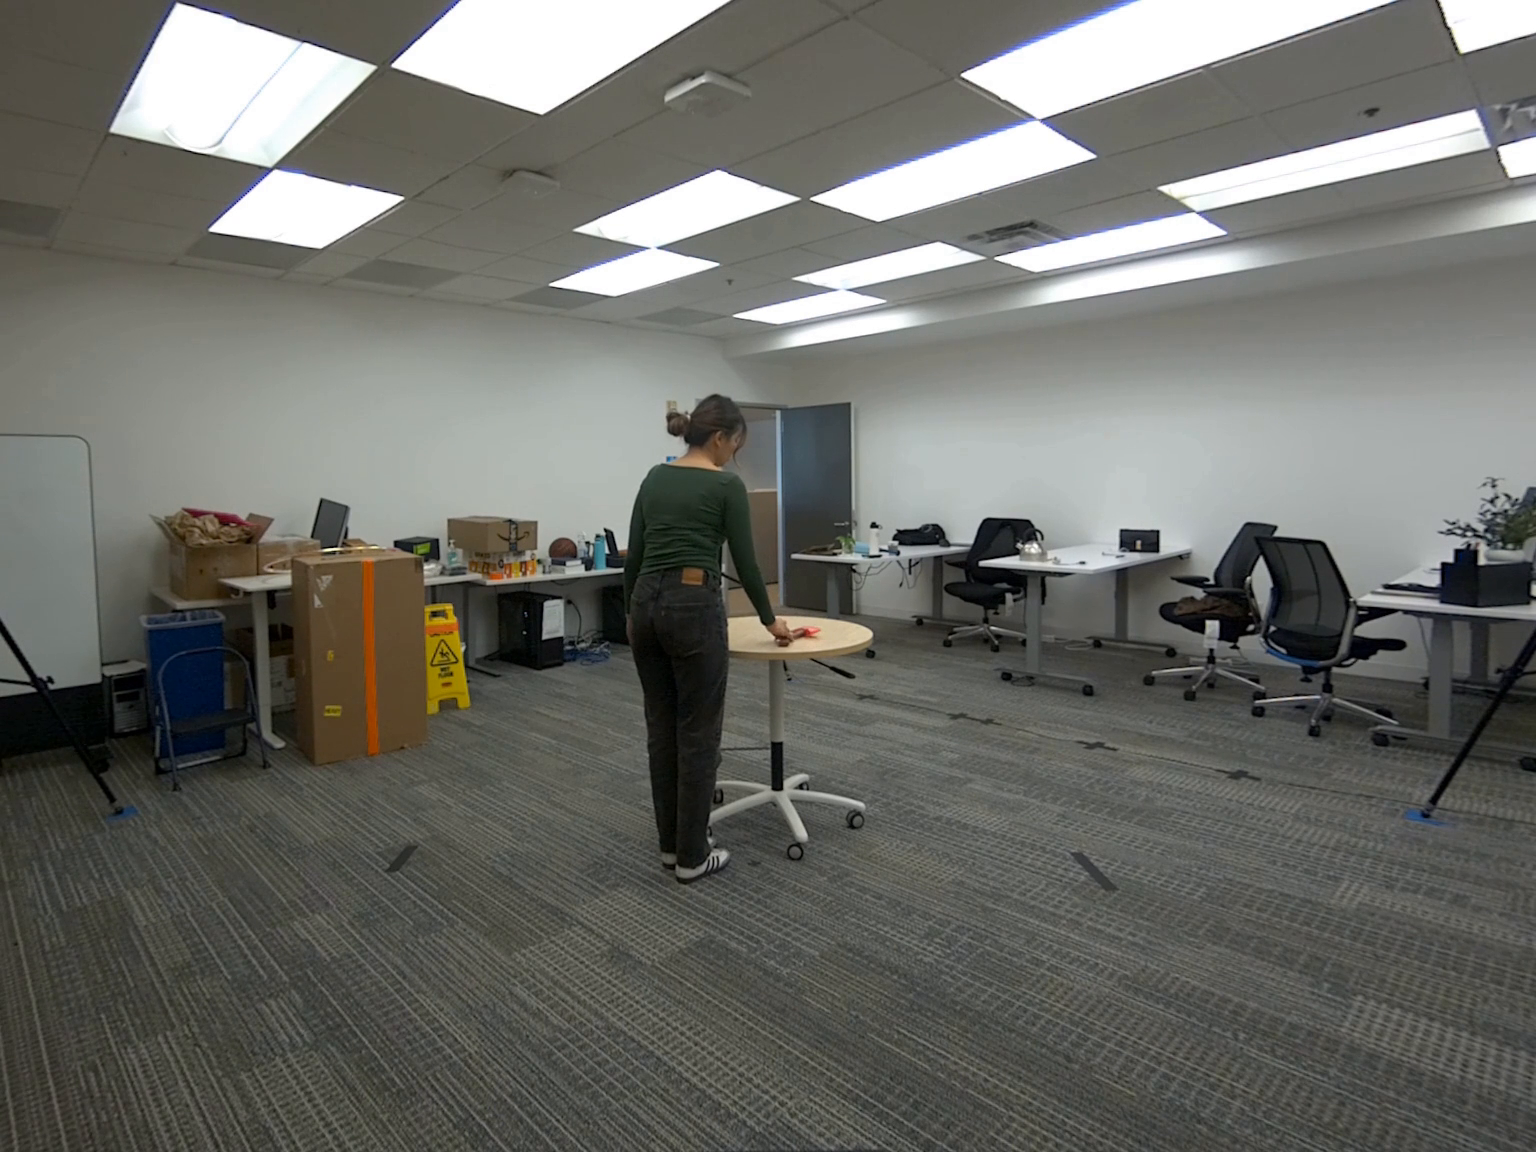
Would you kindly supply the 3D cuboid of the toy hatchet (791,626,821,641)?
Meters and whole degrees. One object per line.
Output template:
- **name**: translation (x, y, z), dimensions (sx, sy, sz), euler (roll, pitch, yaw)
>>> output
- **toy hatchet**: translation (0.124, 0.229, 3.236), dimensions (0.132, 0.029, 0.268), euler (-7, 6, 13)
